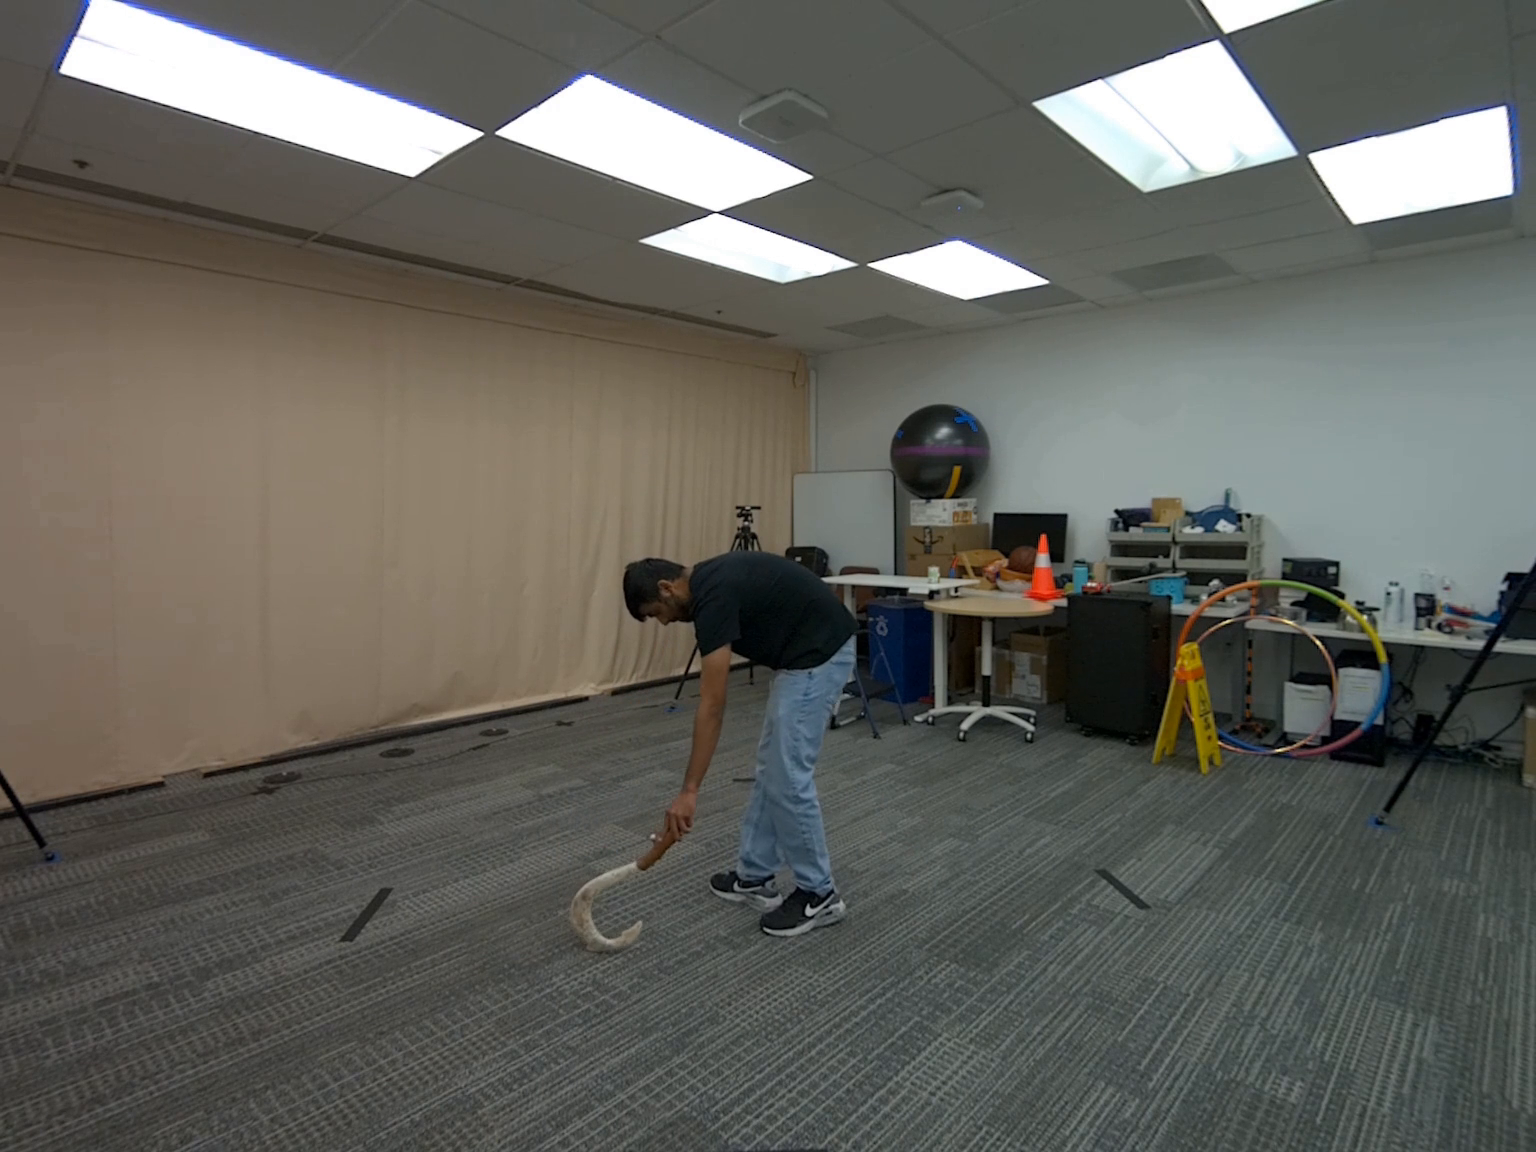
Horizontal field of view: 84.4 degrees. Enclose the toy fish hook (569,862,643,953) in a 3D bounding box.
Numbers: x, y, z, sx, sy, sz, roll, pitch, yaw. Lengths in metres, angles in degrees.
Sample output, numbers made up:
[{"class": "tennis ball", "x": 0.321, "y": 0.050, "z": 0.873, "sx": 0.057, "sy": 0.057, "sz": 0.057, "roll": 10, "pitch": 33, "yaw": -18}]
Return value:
[{"class": "toy fish hook", "x": -0.404, "y": 0.977, "z": 2.627, "sx": 0.508, "sy": 0.228, "sz": 0.047, "roll": -45, "pitch": -11, "yaw": 9}]
